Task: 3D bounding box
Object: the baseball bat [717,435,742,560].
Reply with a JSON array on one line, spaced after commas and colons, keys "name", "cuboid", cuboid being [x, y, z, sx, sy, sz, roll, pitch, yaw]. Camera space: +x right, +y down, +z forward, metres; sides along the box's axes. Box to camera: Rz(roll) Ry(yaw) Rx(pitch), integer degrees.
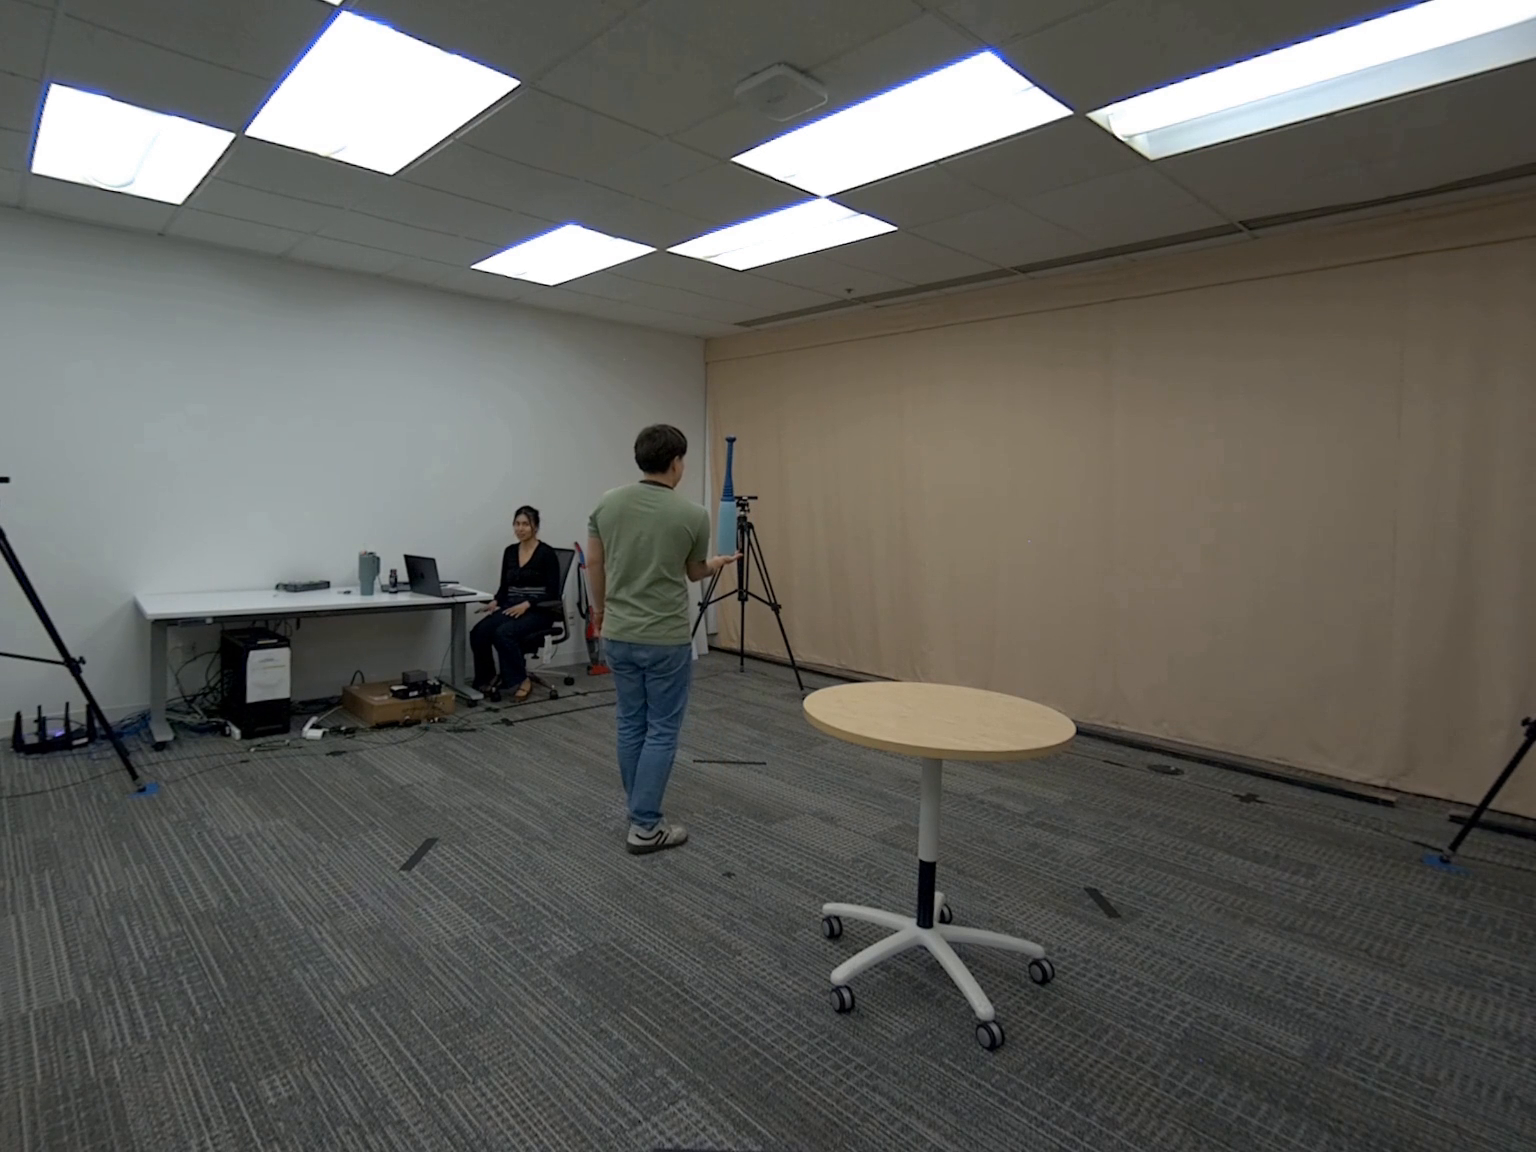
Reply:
[{"name": "baseball bat", "cuboid": [-0.175, -0.351, 3.773, 0.089, 0.541, 0.089, 2, 6, -2]}]
